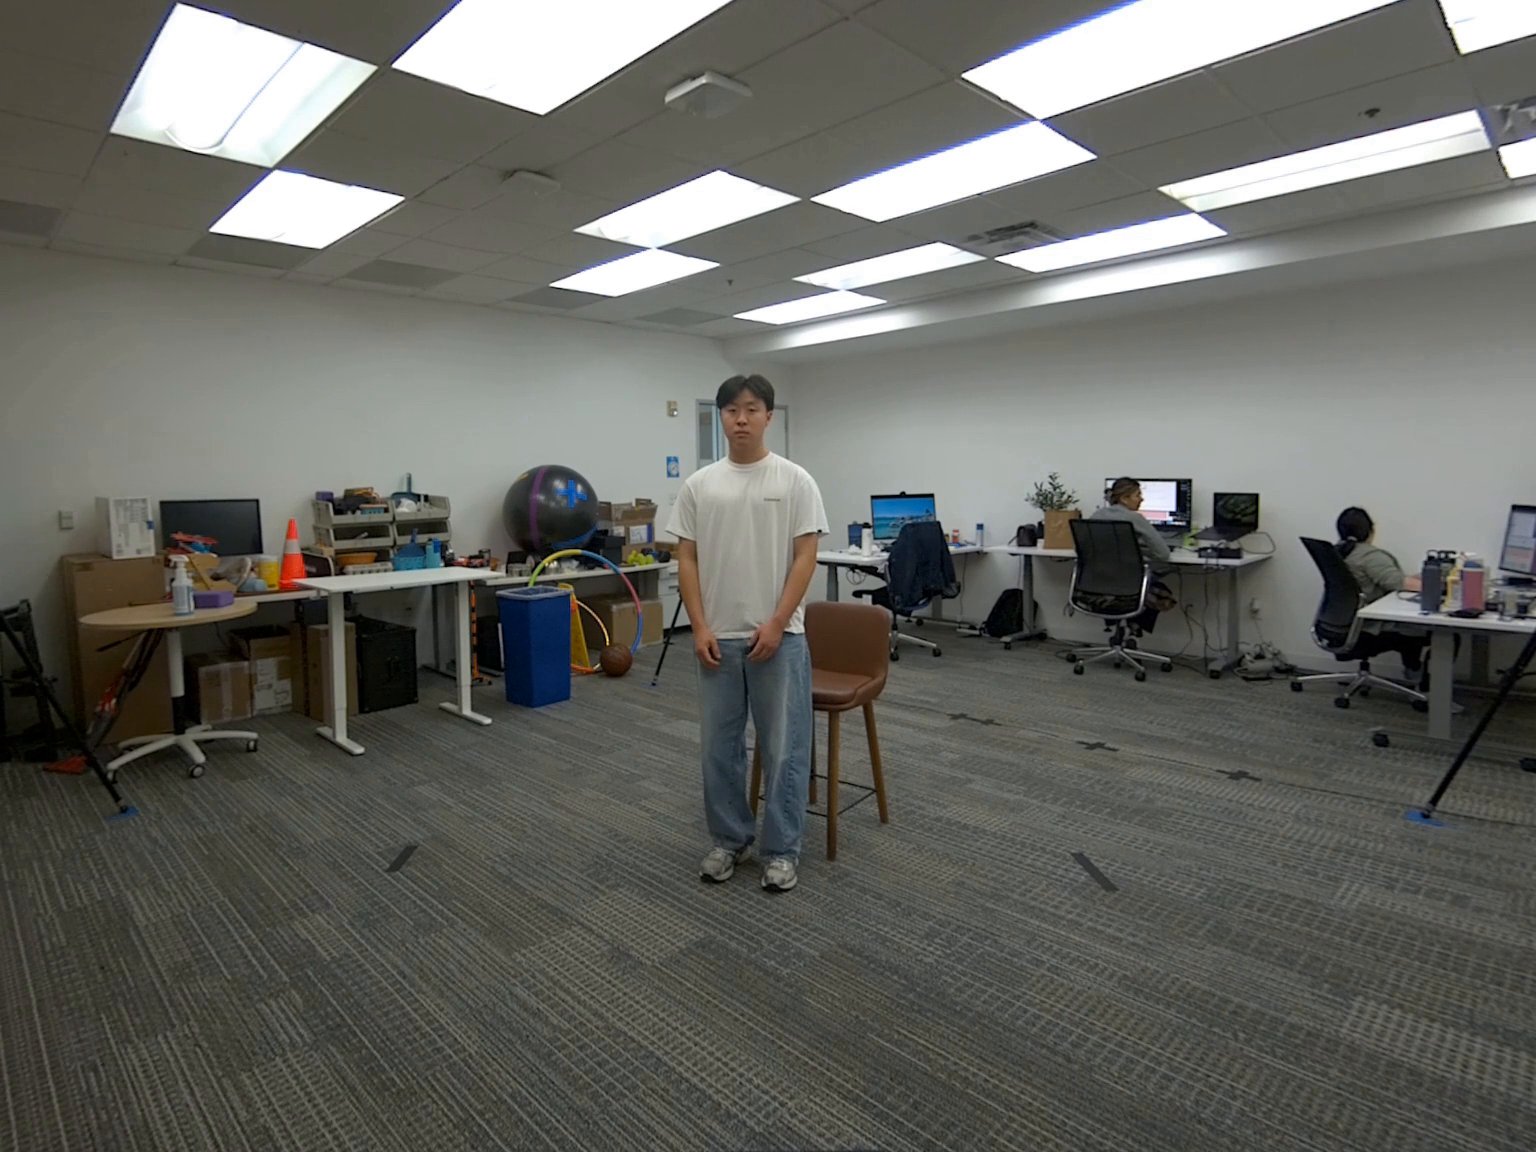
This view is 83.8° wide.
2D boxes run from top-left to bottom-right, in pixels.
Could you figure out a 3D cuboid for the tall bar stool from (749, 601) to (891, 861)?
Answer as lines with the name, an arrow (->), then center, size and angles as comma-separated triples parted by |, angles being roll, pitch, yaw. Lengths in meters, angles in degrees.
tall bar stool -> 0.212, 0.570, 3.381 | 0.470, 0.887, 0.455 | 3, 4, 38
